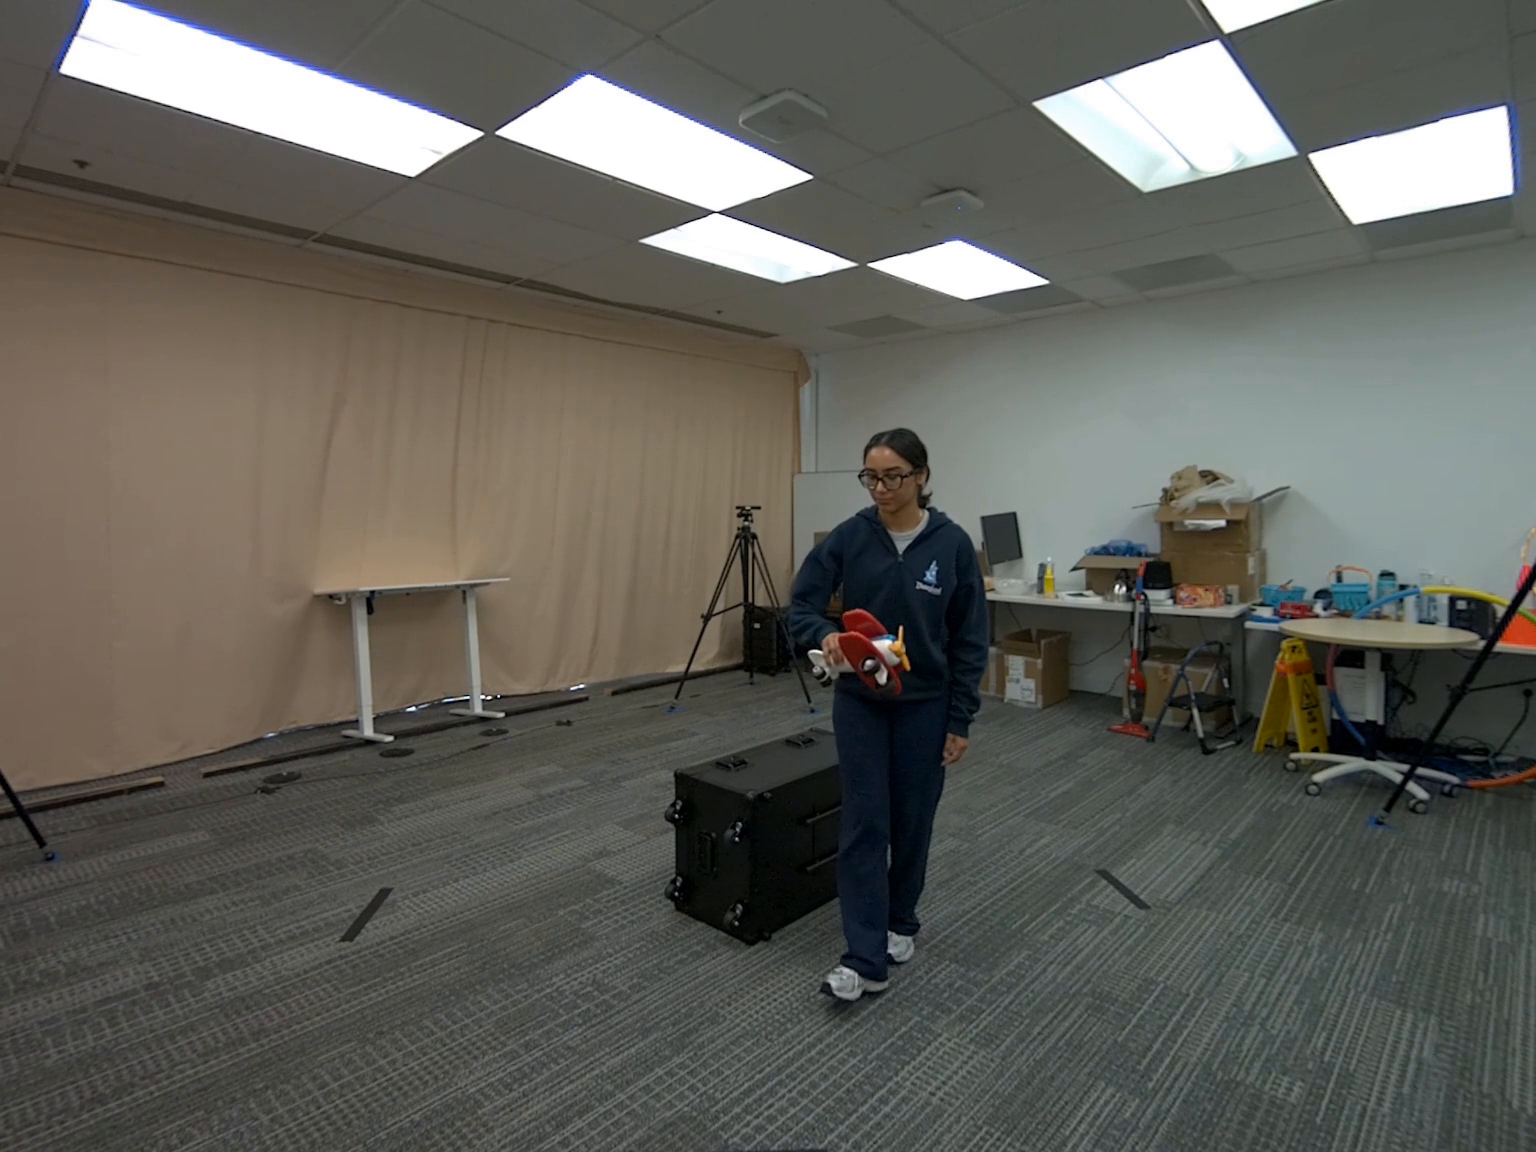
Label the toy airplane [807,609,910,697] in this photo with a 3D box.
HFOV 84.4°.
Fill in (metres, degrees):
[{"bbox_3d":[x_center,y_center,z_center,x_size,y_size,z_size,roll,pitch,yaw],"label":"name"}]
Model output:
[{"bbox_3d":[0.235,0.207,2.241,0.266,0.156,0.245,16,-36,23],"label":"toy airplane"}]
